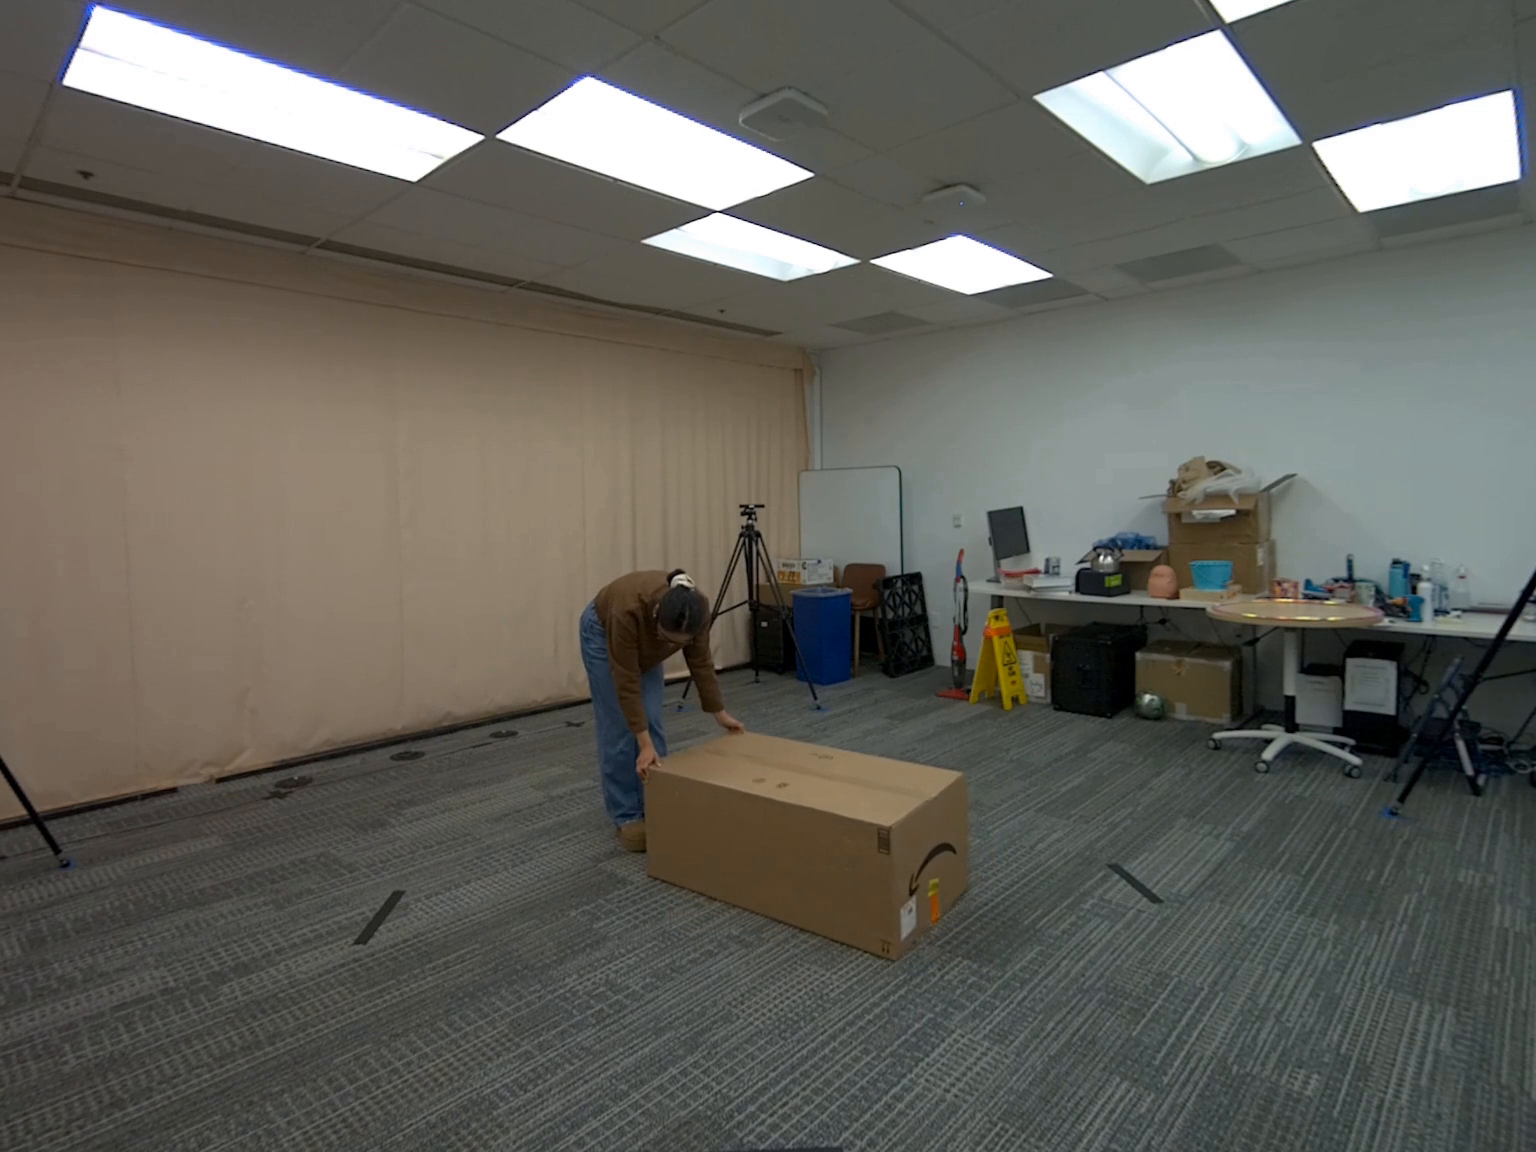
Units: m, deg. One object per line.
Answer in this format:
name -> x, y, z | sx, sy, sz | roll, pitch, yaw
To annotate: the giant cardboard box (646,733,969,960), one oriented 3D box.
giant cardboard box -> 0.130, 0.914, 3.068 | 1.060, 0.445, 0.567 | 3, 6, 37
